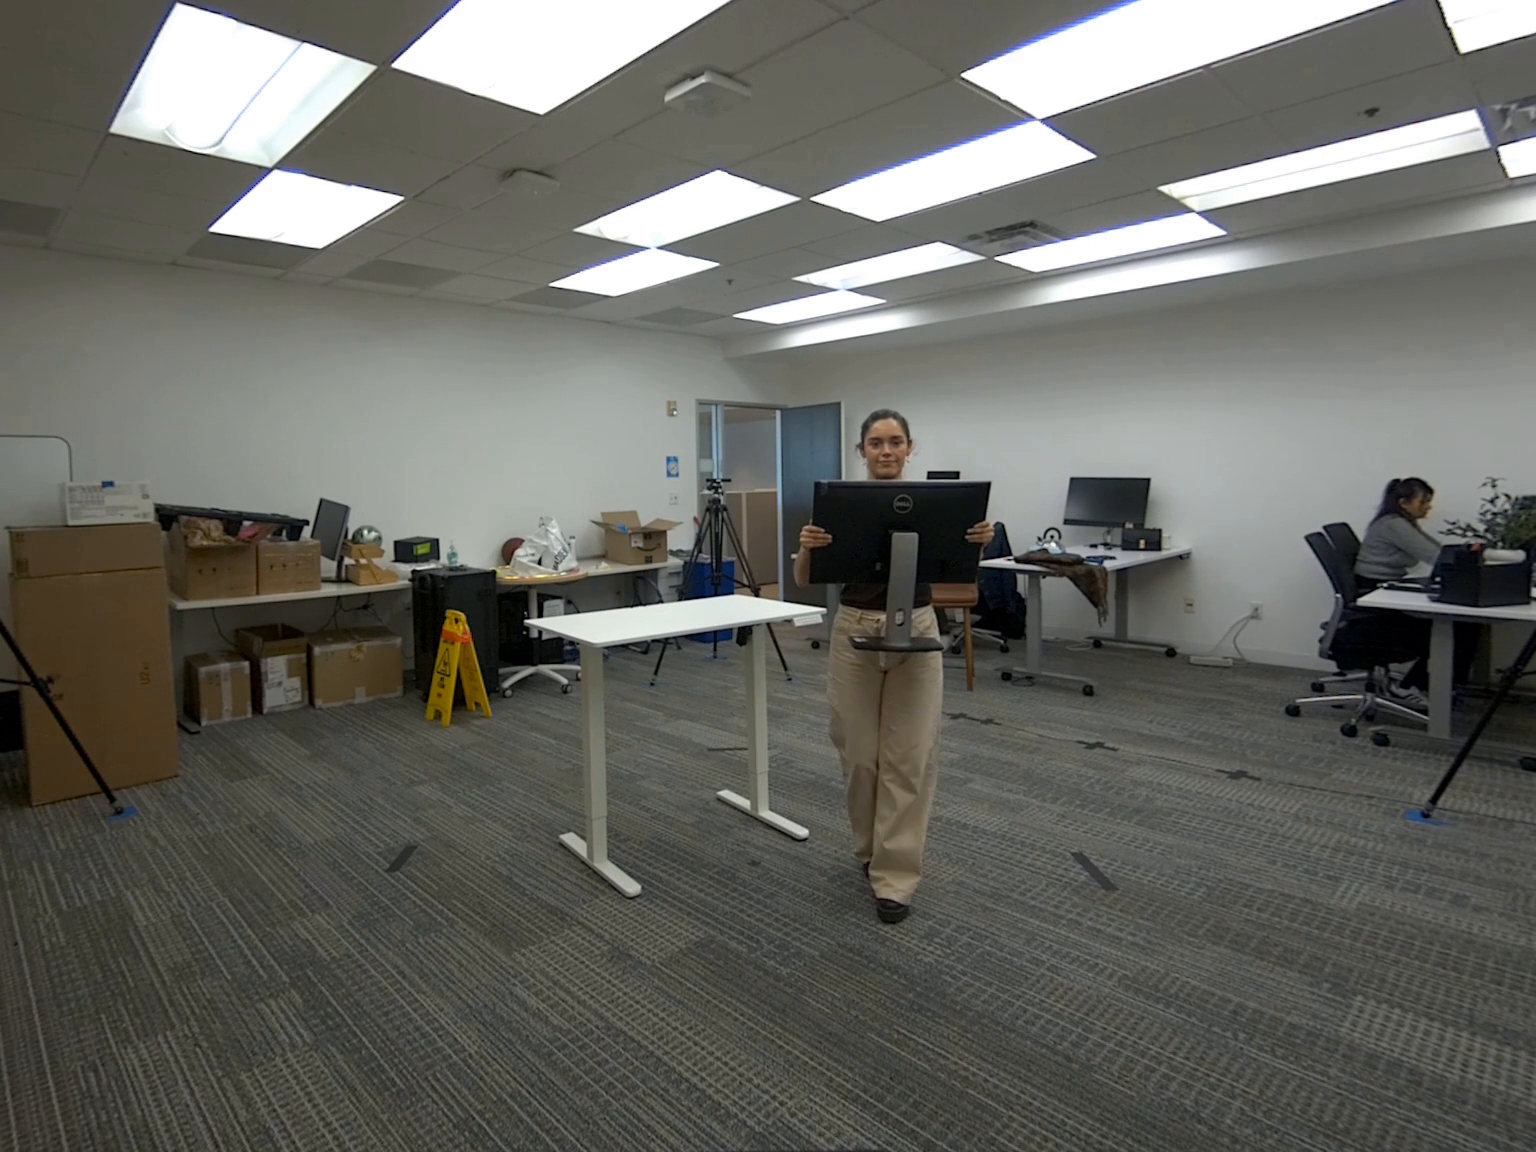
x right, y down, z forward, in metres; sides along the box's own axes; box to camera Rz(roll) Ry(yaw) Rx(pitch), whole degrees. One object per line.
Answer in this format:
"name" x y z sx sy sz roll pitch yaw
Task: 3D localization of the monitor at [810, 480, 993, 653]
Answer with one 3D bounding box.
"monitor" 0.397 -0.031 2.620 0.537 0.517 0.190 -1 10 -5
